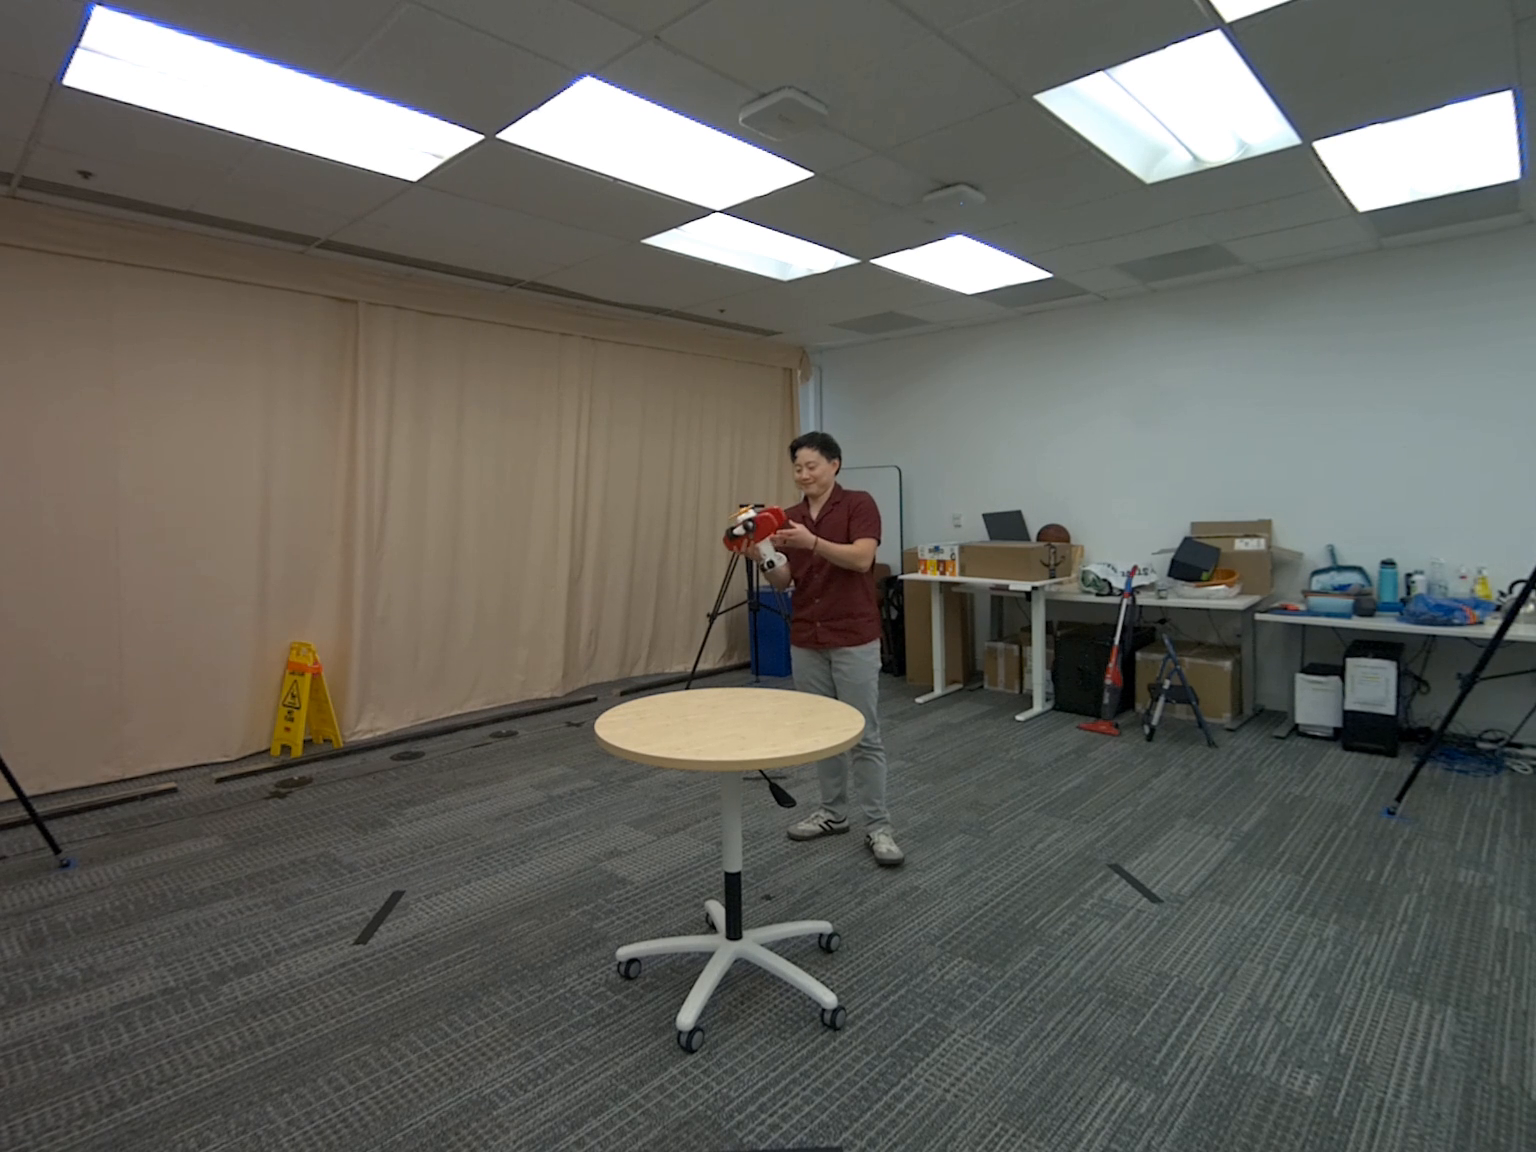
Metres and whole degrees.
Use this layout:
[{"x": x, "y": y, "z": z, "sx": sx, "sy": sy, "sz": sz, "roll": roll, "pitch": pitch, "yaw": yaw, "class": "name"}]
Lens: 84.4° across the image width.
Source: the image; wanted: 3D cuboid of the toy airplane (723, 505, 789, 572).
[{"x": -0.045, "y": -0.129, "z": 3.233, "sx": 0.257, "sy": 0.253, "sz": 0.156, "roll": 0, "pitch": 34, "yaw": 22, "class": "toy airplane"}]
